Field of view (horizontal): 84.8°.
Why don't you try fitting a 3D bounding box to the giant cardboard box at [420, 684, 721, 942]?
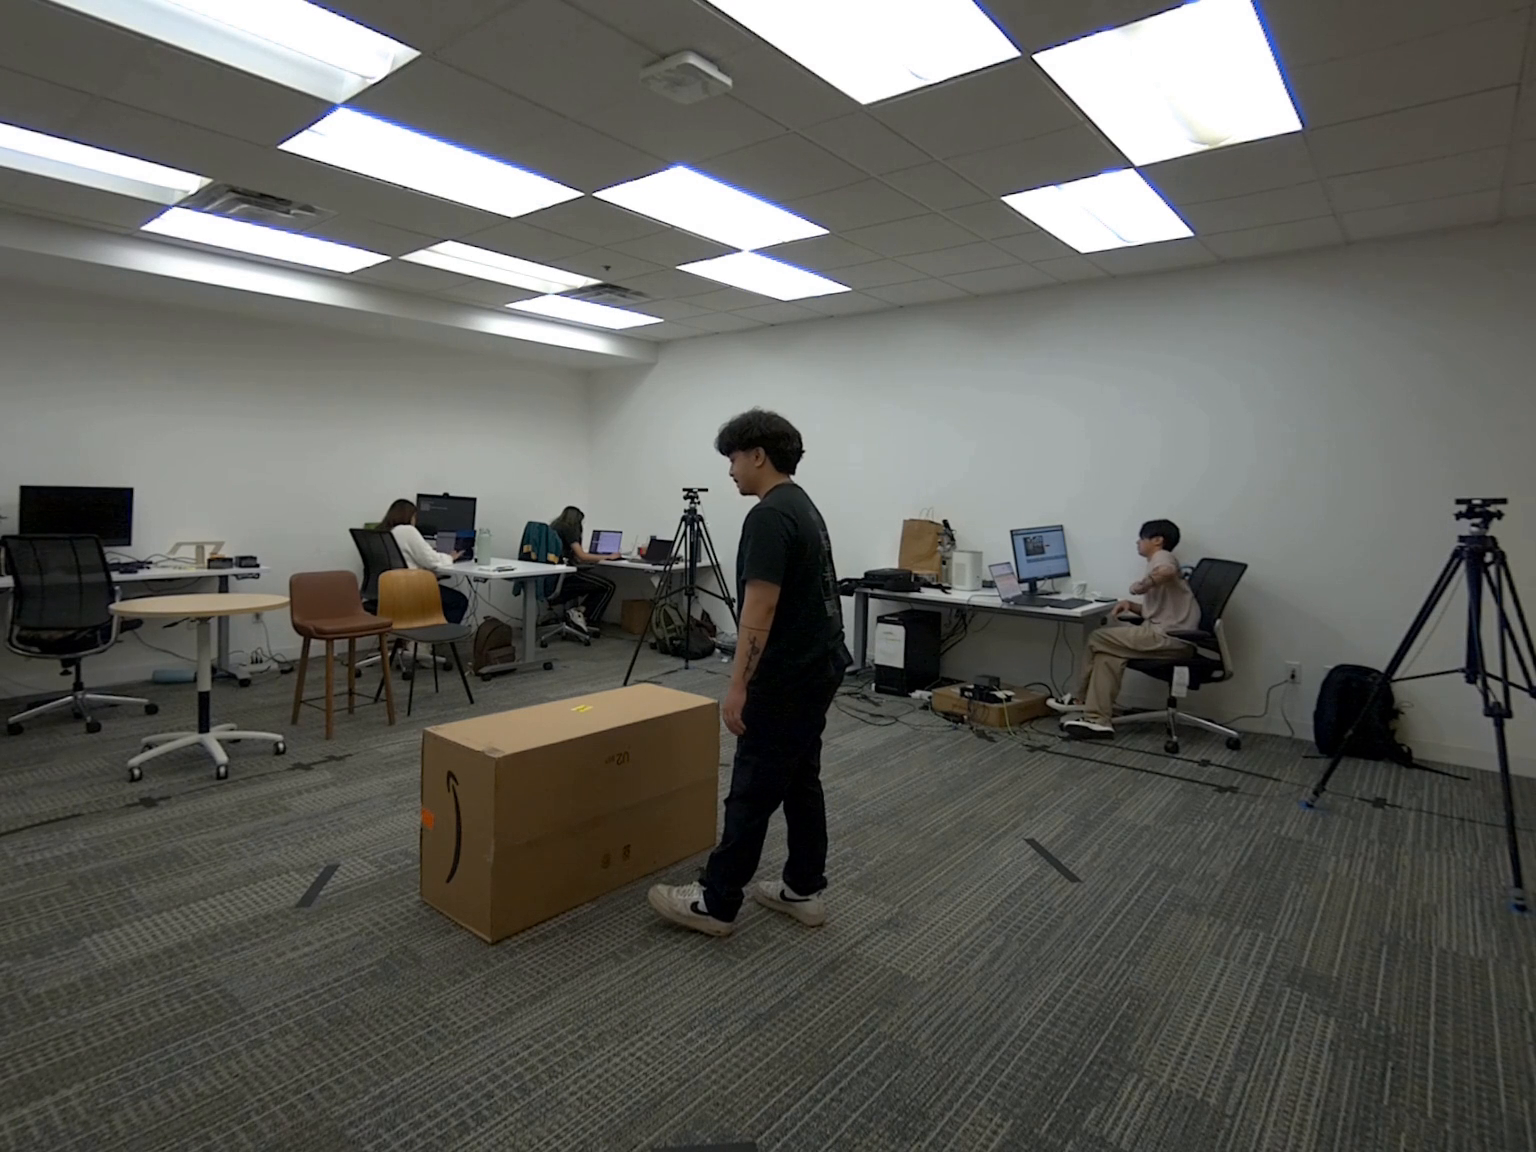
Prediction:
[{"bbox_3d":[-0.688,0.779,3.073,0.461,0.582,0.996,3,4,39],"label":"giant cardboard box"}]
